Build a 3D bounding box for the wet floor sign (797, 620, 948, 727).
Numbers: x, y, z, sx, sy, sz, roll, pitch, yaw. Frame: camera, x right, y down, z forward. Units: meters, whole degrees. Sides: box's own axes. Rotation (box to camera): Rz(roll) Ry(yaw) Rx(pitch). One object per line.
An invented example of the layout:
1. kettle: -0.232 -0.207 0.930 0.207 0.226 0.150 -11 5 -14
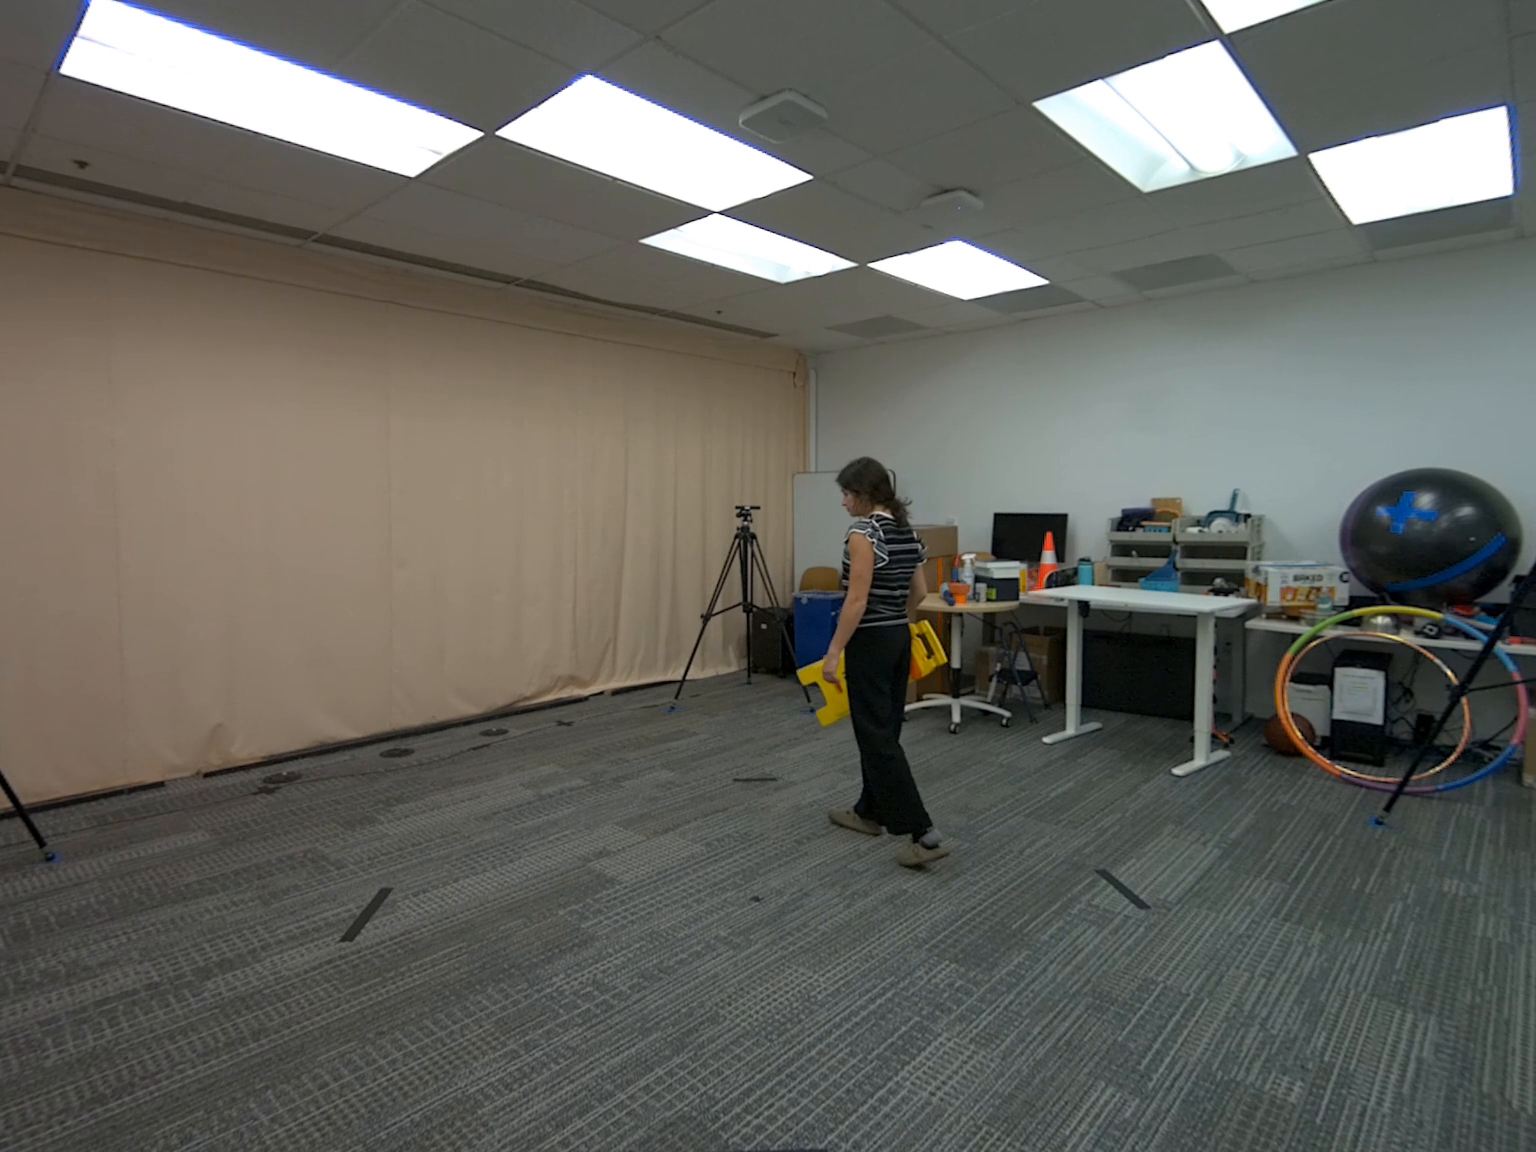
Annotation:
1. wet floor sign: 0.487 0.405 3.762 0.657 0.285 0.282 -30 -9 35
